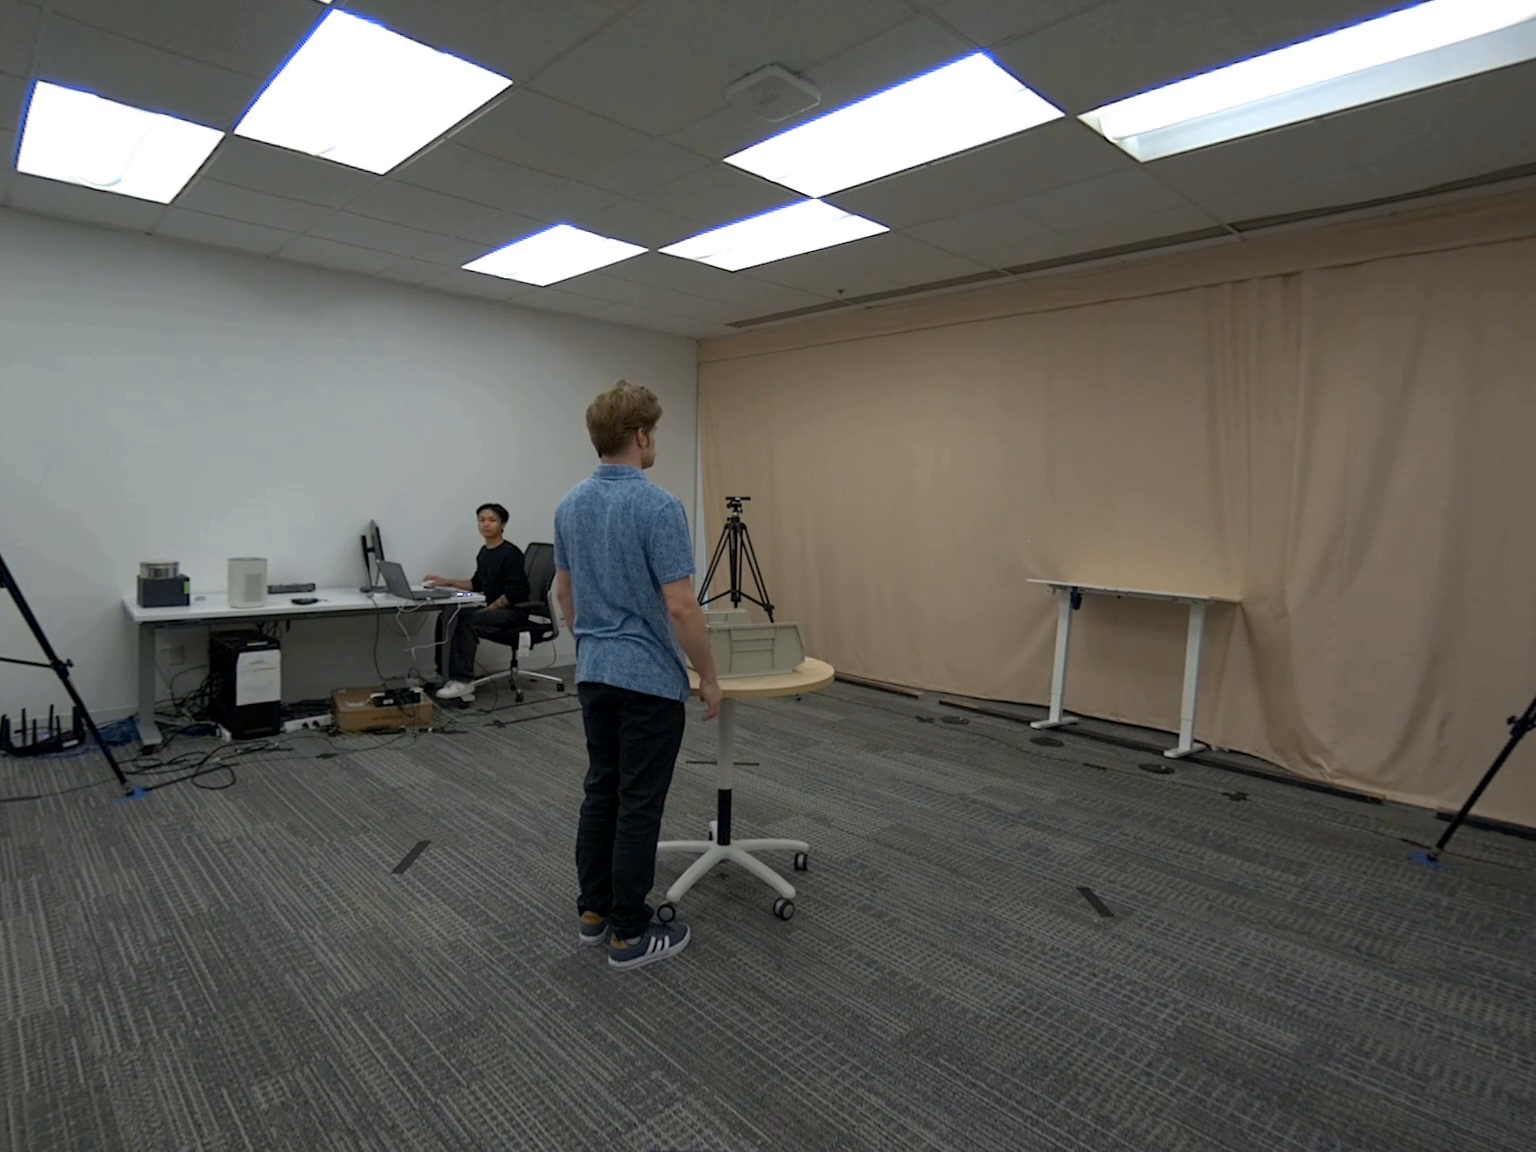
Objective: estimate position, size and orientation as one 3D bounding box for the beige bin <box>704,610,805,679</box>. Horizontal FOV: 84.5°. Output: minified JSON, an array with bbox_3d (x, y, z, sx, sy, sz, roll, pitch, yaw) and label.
[{"bbox_3d":[-0.147,0.236,3.040,0.371,0.188,0.431,-2,6,-26],"label":"beige bin"}]
